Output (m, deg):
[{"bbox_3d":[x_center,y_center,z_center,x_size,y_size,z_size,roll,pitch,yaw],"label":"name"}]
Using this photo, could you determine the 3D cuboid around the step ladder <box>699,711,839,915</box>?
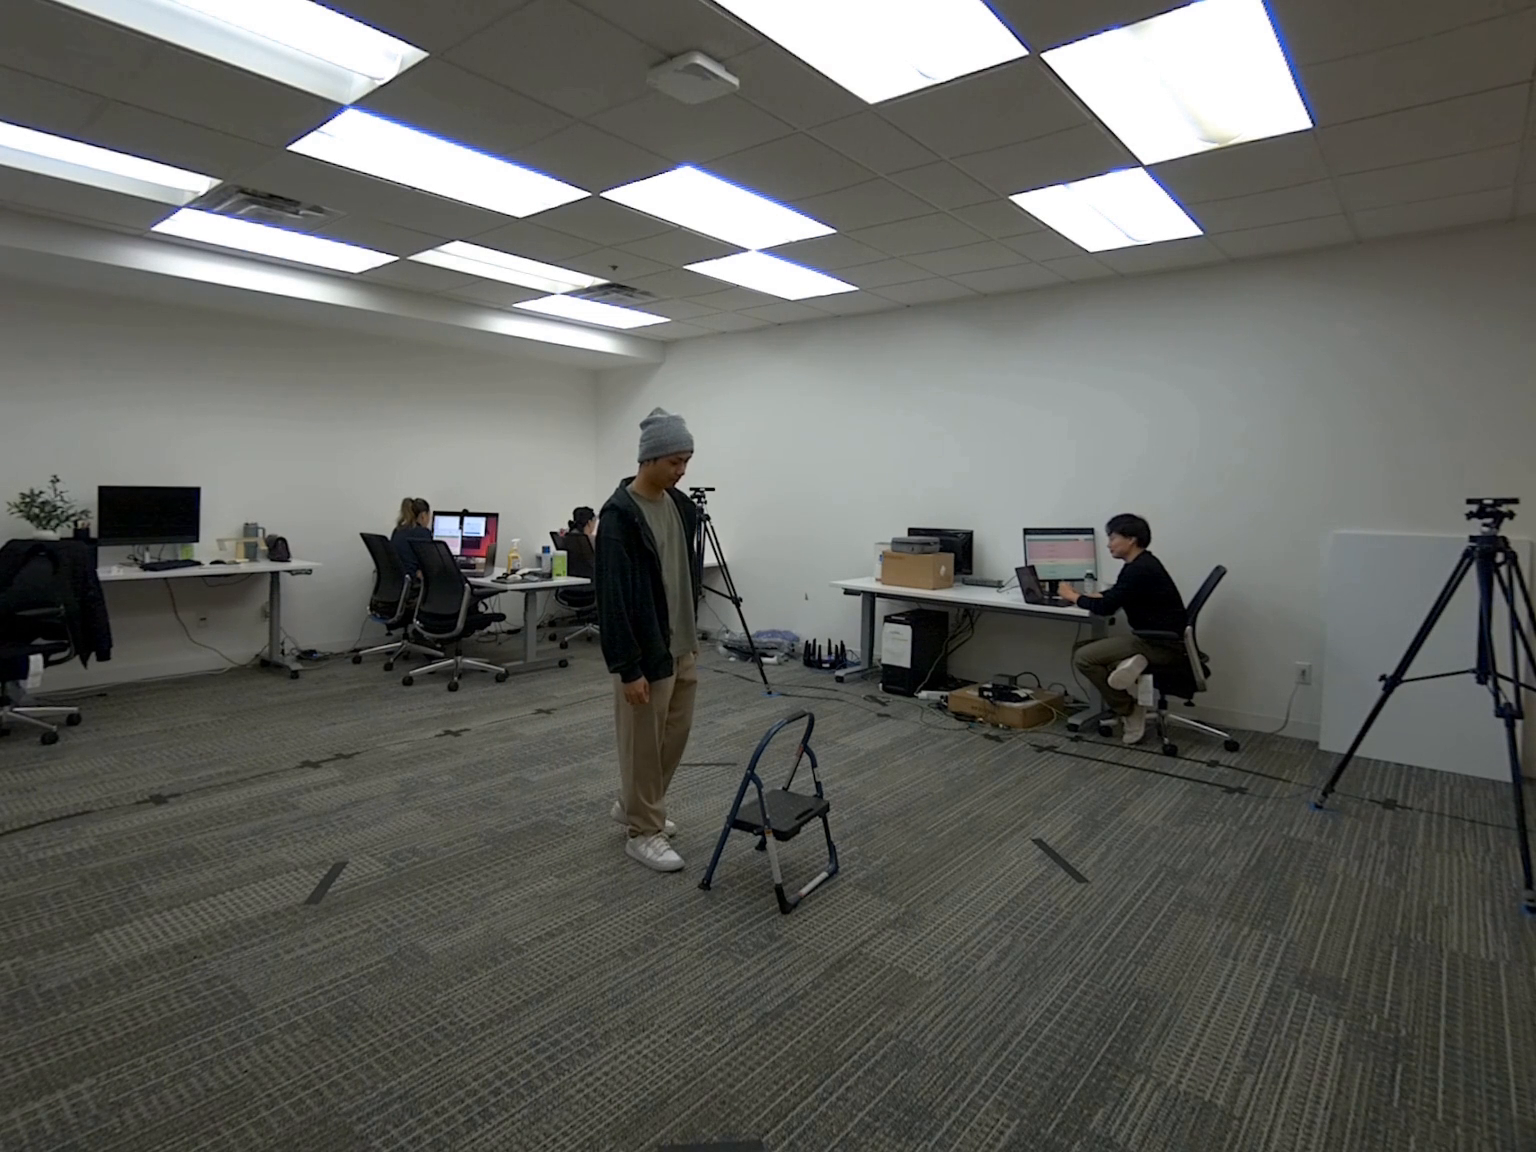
[{"bbox_3d":[0.012,0.776,3.021,0.360,0.604,0.419,3,4,30],"label":"step ladder"}]
